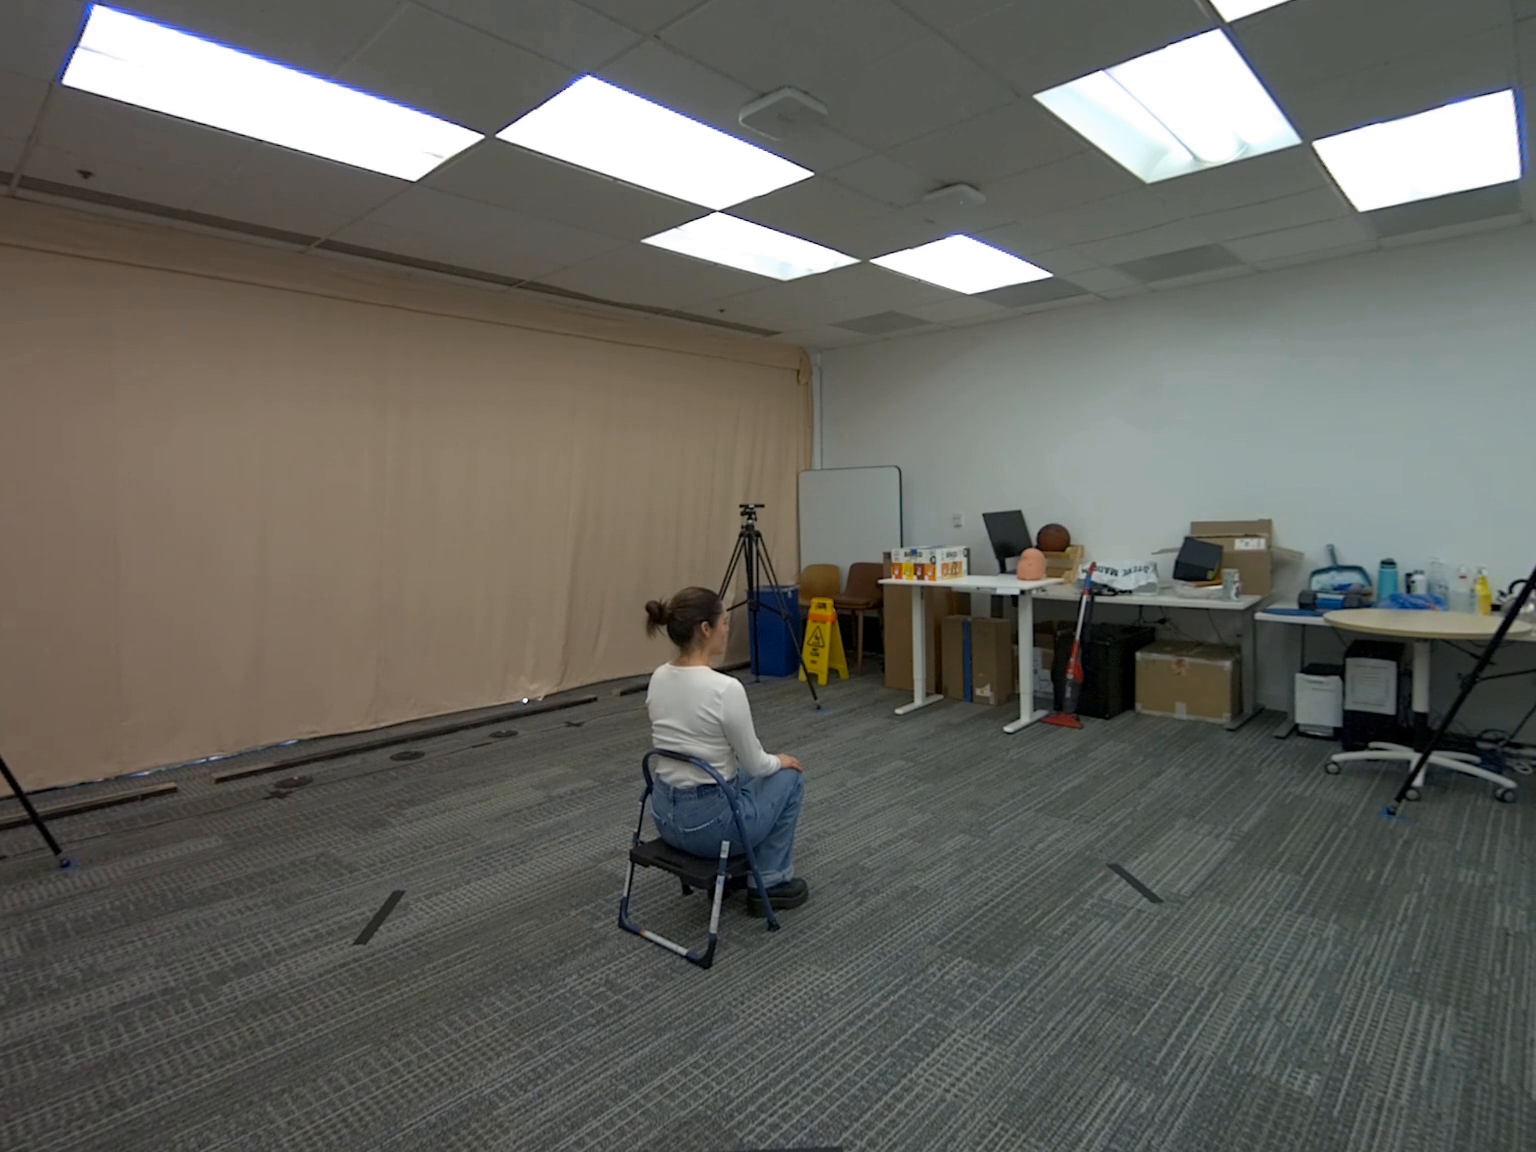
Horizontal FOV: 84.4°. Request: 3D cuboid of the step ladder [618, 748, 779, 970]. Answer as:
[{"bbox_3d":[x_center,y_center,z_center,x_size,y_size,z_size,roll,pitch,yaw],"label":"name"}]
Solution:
[{"bbox_3d":[-0.240,0.858,2.766,0.445,0.605,0.339,2,4,40],"label":"step ladder"}]
